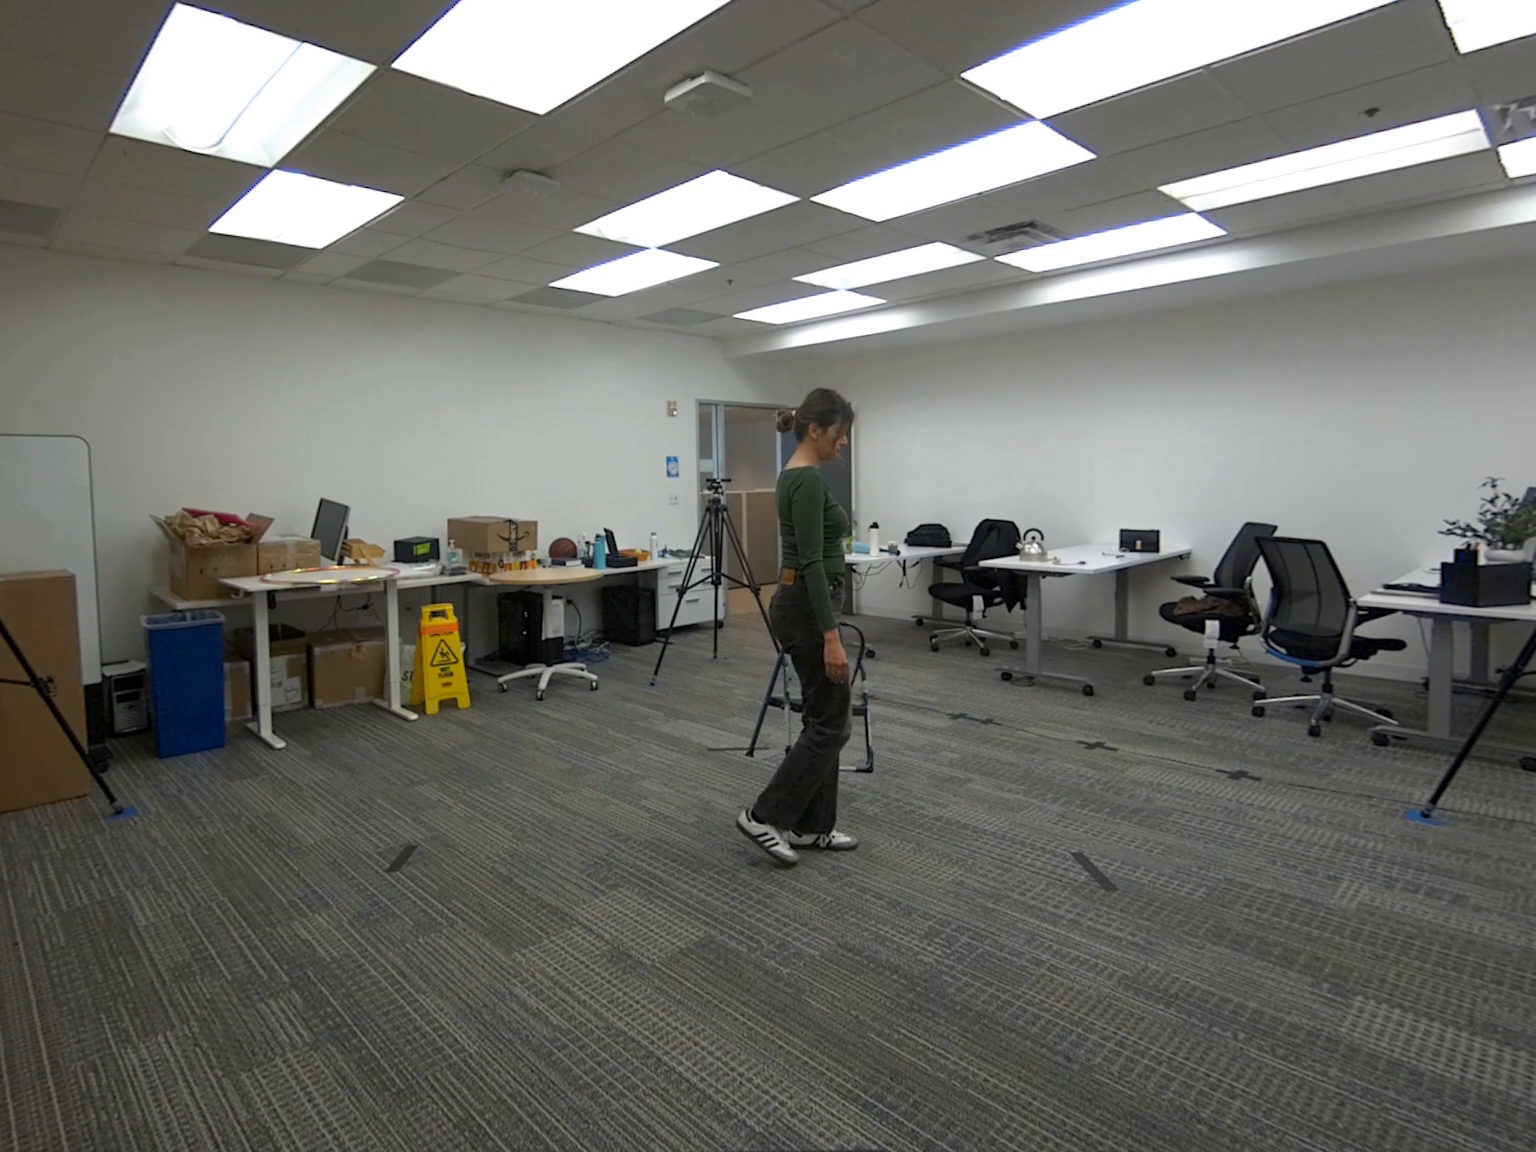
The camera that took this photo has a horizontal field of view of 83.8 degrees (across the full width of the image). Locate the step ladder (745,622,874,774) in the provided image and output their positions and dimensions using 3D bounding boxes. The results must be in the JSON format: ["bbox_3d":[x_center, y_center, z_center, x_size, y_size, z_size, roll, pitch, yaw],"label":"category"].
[{"bbox_3d":[0.197,0.482,3.578,0.419,0.608,0.358,8,-4,-31],"label":"step ladder"}]
